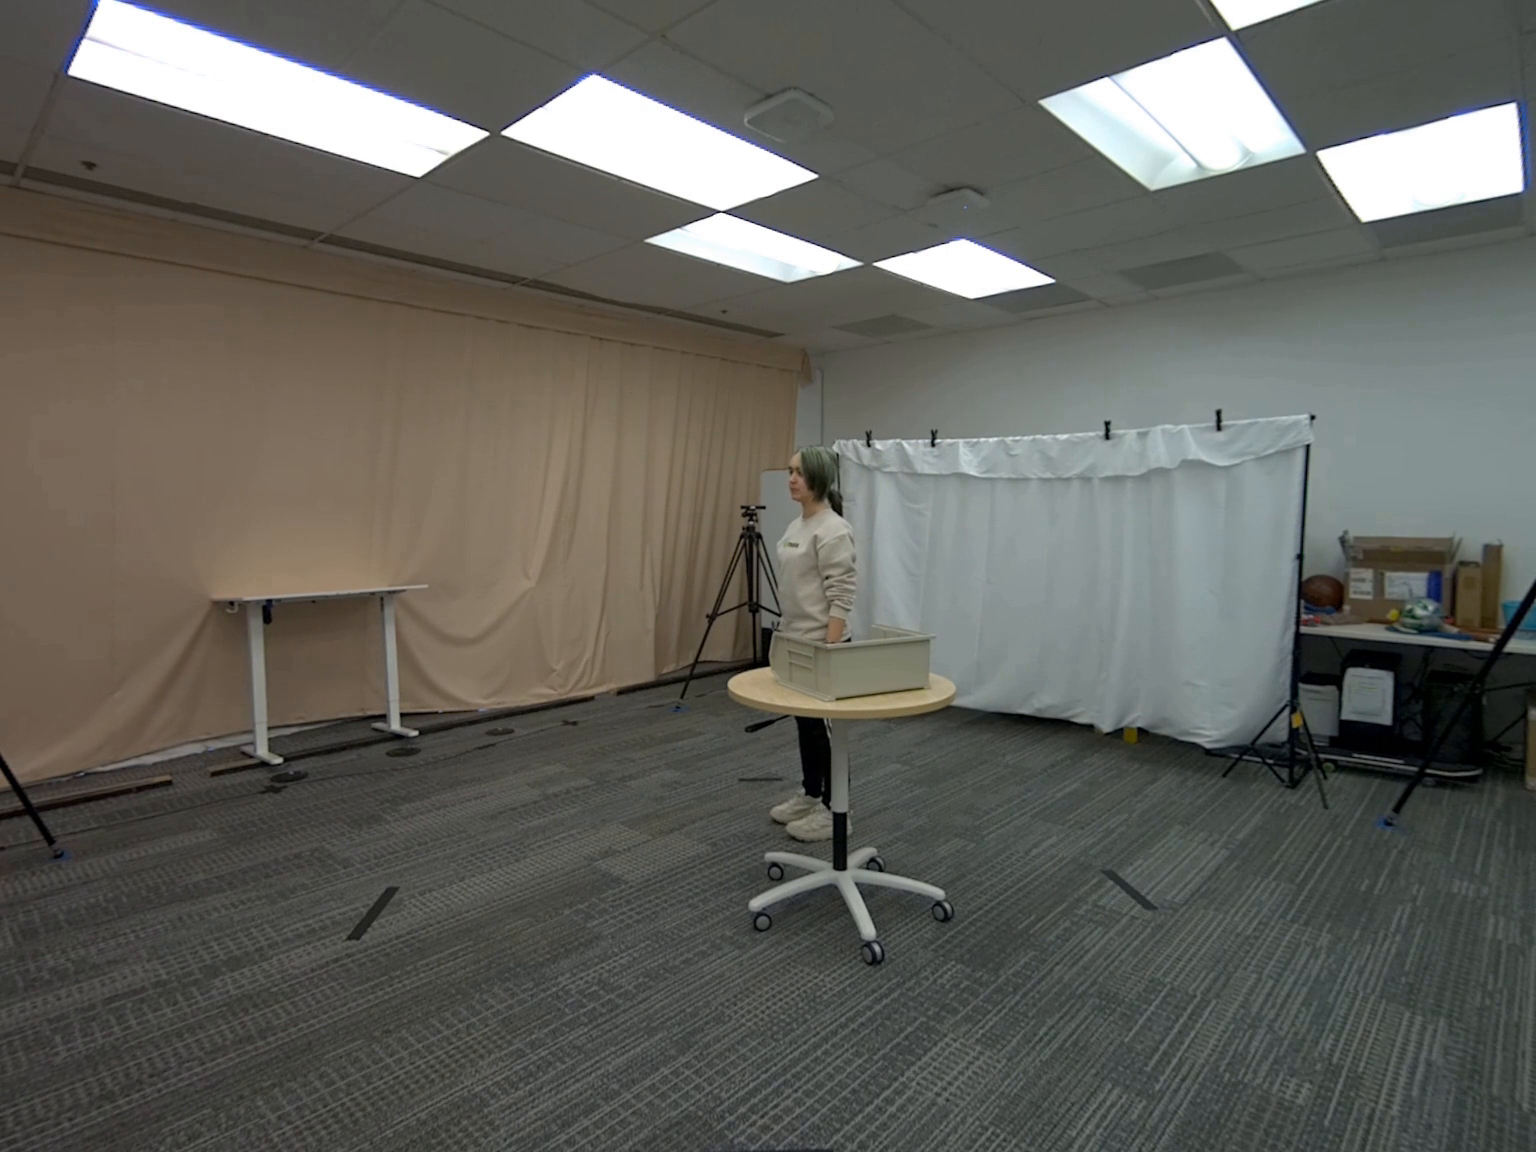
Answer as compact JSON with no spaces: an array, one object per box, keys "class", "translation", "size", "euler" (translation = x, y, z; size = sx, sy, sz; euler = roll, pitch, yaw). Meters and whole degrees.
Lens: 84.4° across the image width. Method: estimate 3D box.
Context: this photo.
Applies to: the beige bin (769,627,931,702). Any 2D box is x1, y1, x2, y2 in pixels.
[{"class":"beige bin","translation":[0.273,0.279,2.839],"size":[0.412,0.188,0.388],"euler":[-2,6,-27]}]
